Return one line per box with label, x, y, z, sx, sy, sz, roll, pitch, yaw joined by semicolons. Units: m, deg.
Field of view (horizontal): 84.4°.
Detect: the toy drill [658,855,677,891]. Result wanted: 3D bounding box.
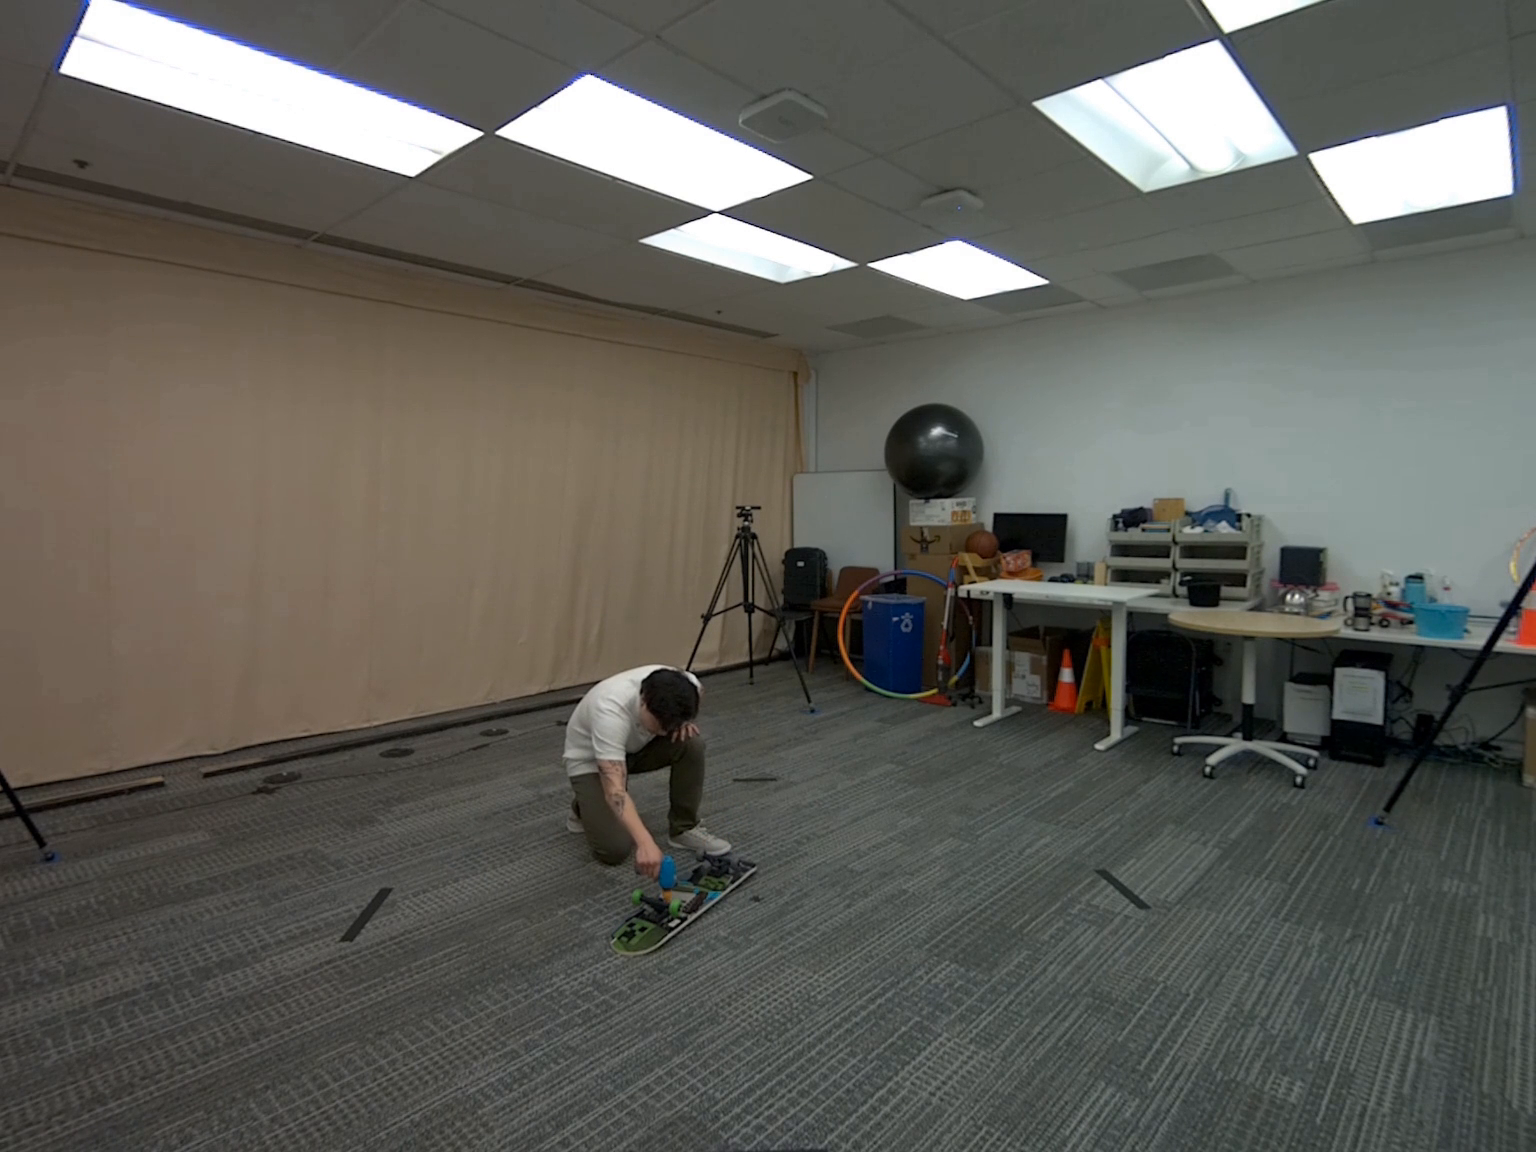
toy drill;-0.374;1.011;2.821;0.150;0.169;0.059;2;5;28
